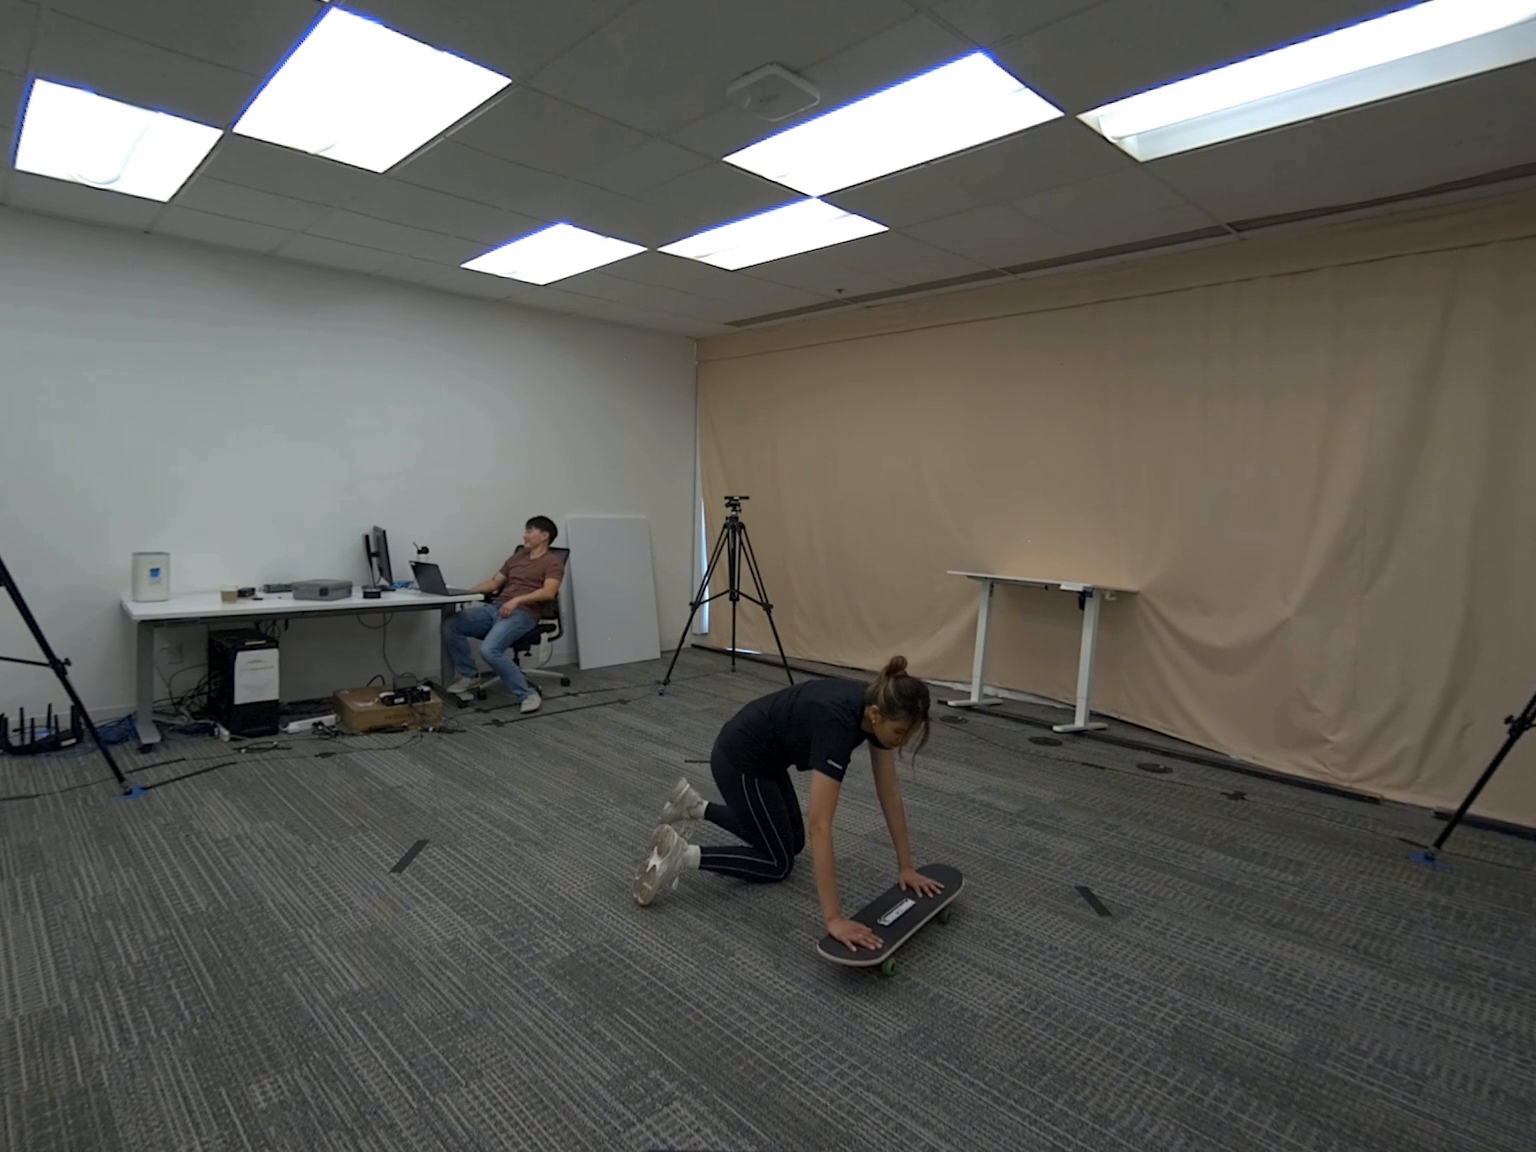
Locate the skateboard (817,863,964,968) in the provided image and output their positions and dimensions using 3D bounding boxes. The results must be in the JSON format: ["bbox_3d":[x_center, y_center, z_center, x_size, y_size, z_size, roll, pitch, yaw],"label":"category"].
[{"bbox_3d":[0.404,1.099,2.682,0.198,0.110,0.769,2,5,37],"label":"skateboard"}]
